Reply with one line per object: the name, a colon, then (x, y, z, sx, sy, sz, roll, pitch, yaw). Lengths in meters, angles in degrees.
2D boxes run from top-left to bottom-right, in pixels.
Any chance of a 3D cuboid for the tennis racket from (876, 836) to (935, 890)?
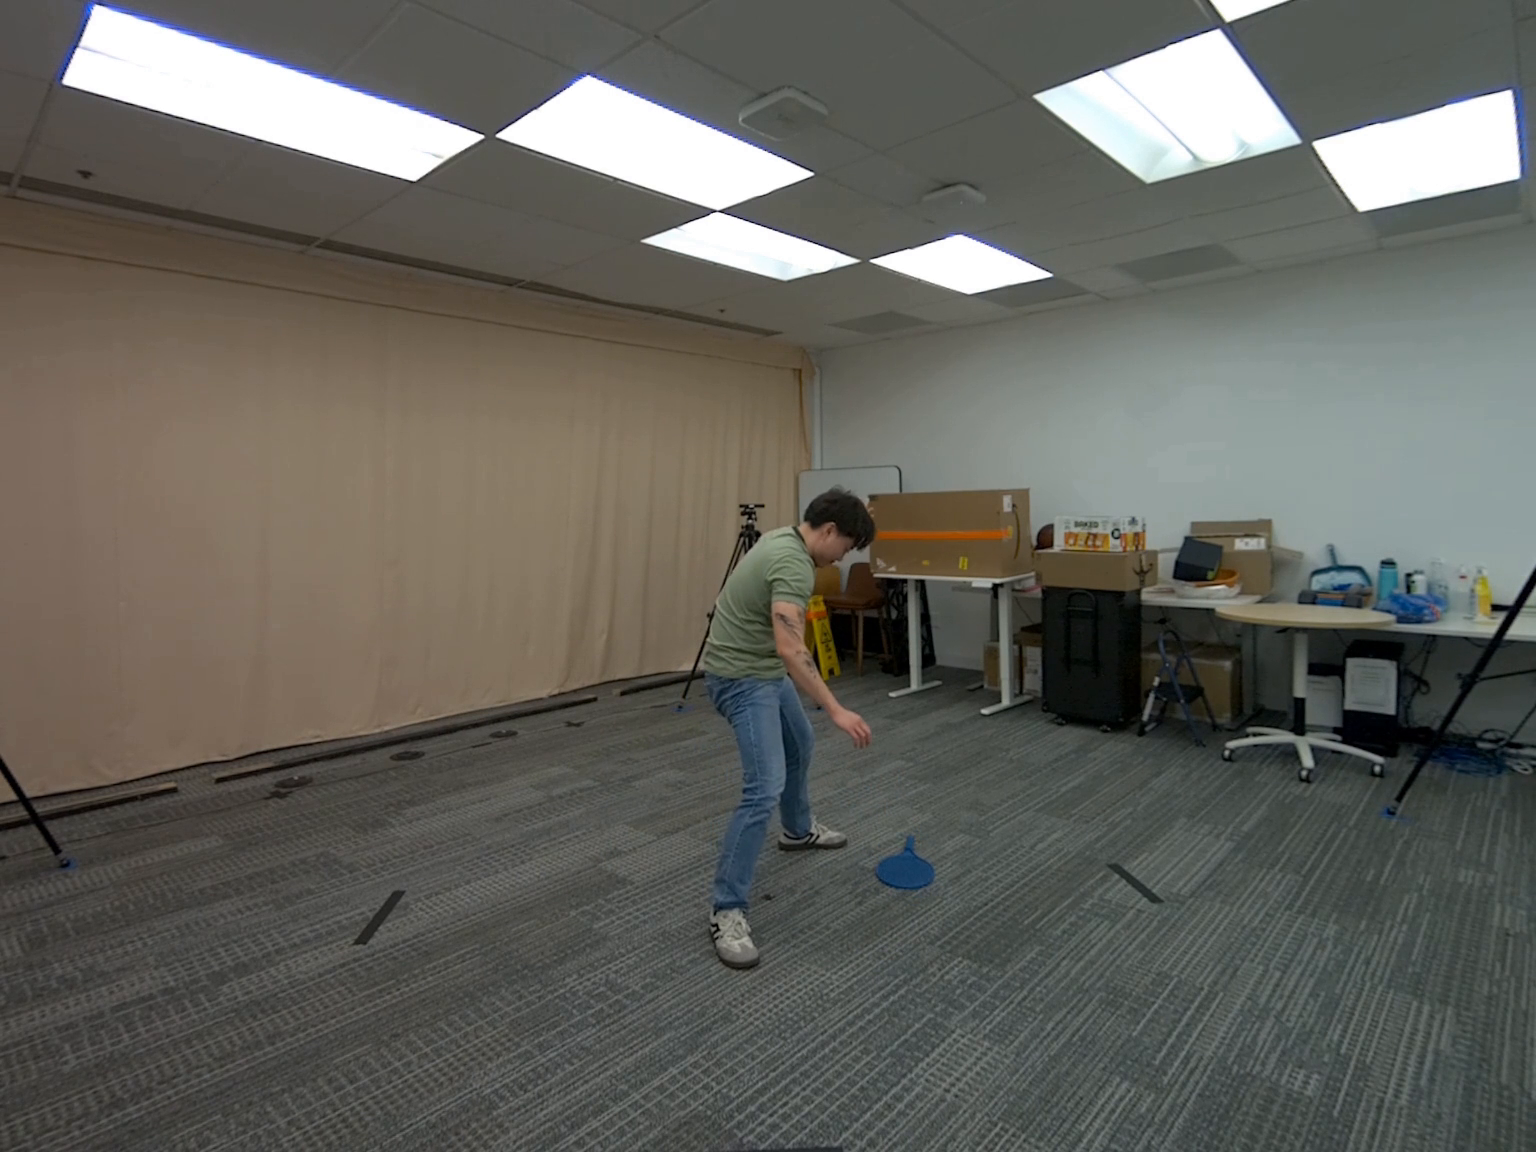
tennis racket: (0.535, 1.095, 3.225, 0.217, 0.031, 0.427, 1, 6, 15)
